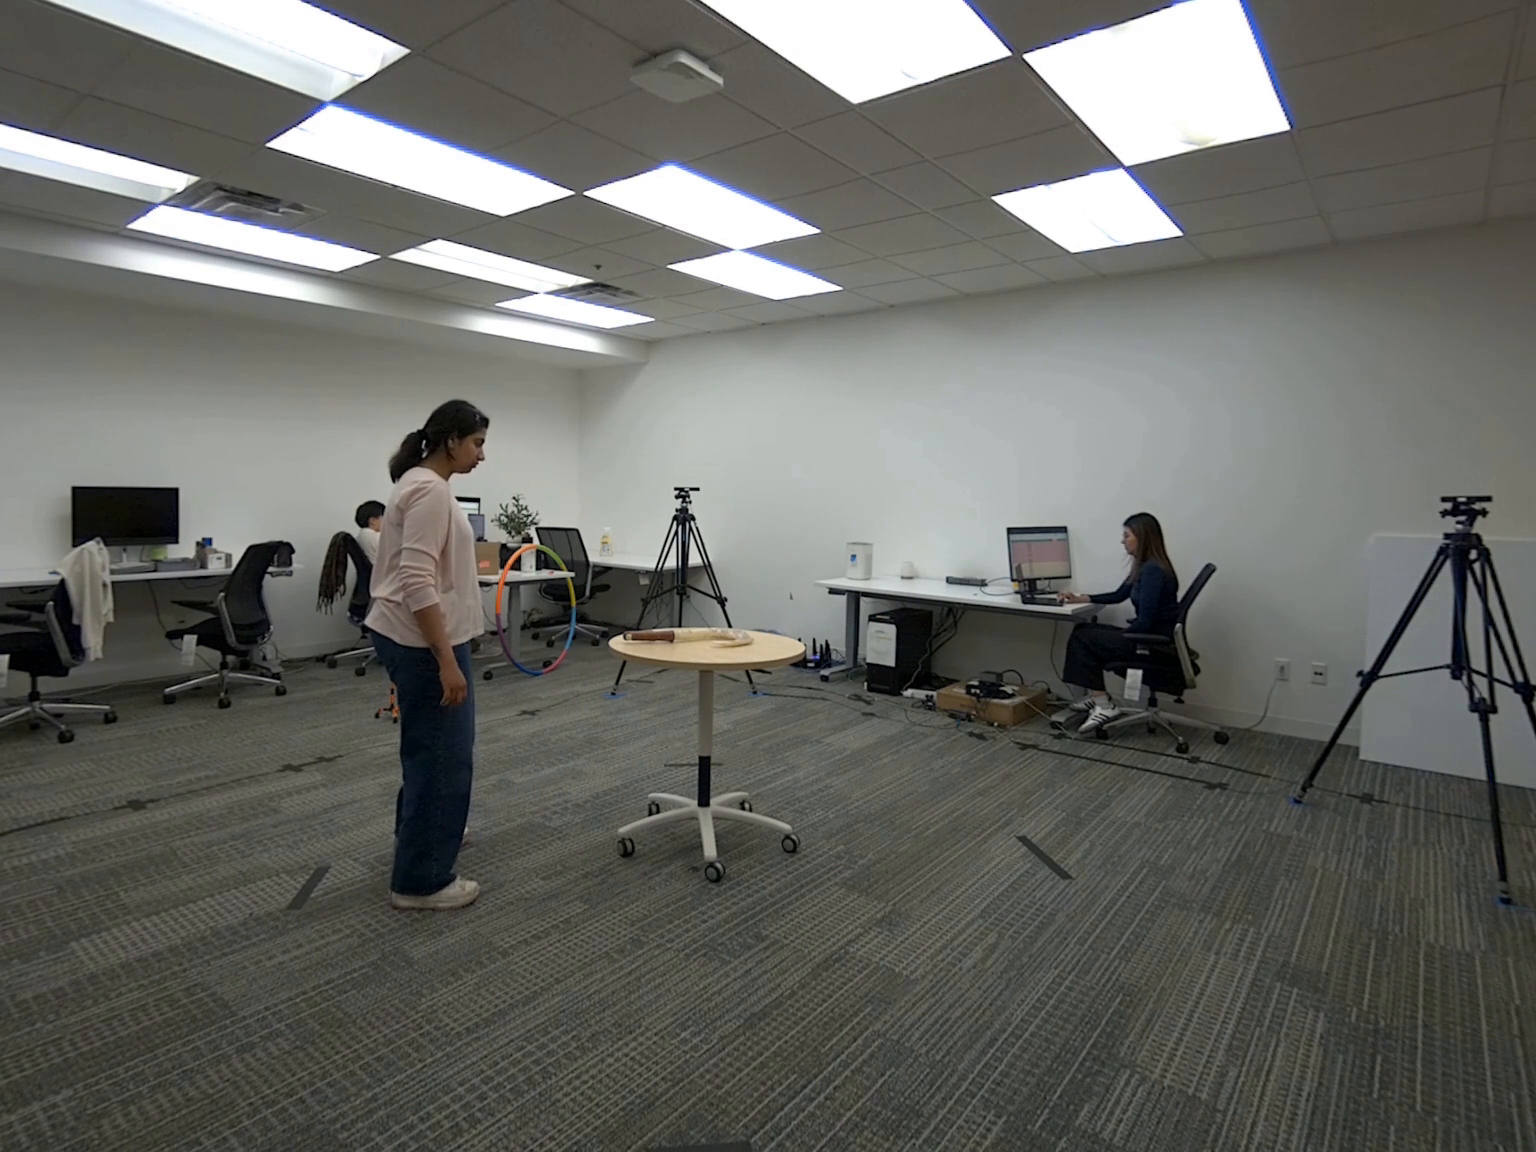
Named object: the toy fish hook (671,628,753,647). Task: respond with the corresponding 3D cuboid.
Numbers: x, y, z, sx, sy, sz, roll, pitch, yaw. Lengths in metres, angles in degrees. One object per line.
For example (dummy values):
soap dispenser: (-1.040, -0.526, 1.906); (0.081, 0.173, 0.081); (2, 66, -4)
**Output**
toy fish hook: (-0.317, 0.242, 3.313); (0.498, 0.048, 0.229); (0, 4, -17)
